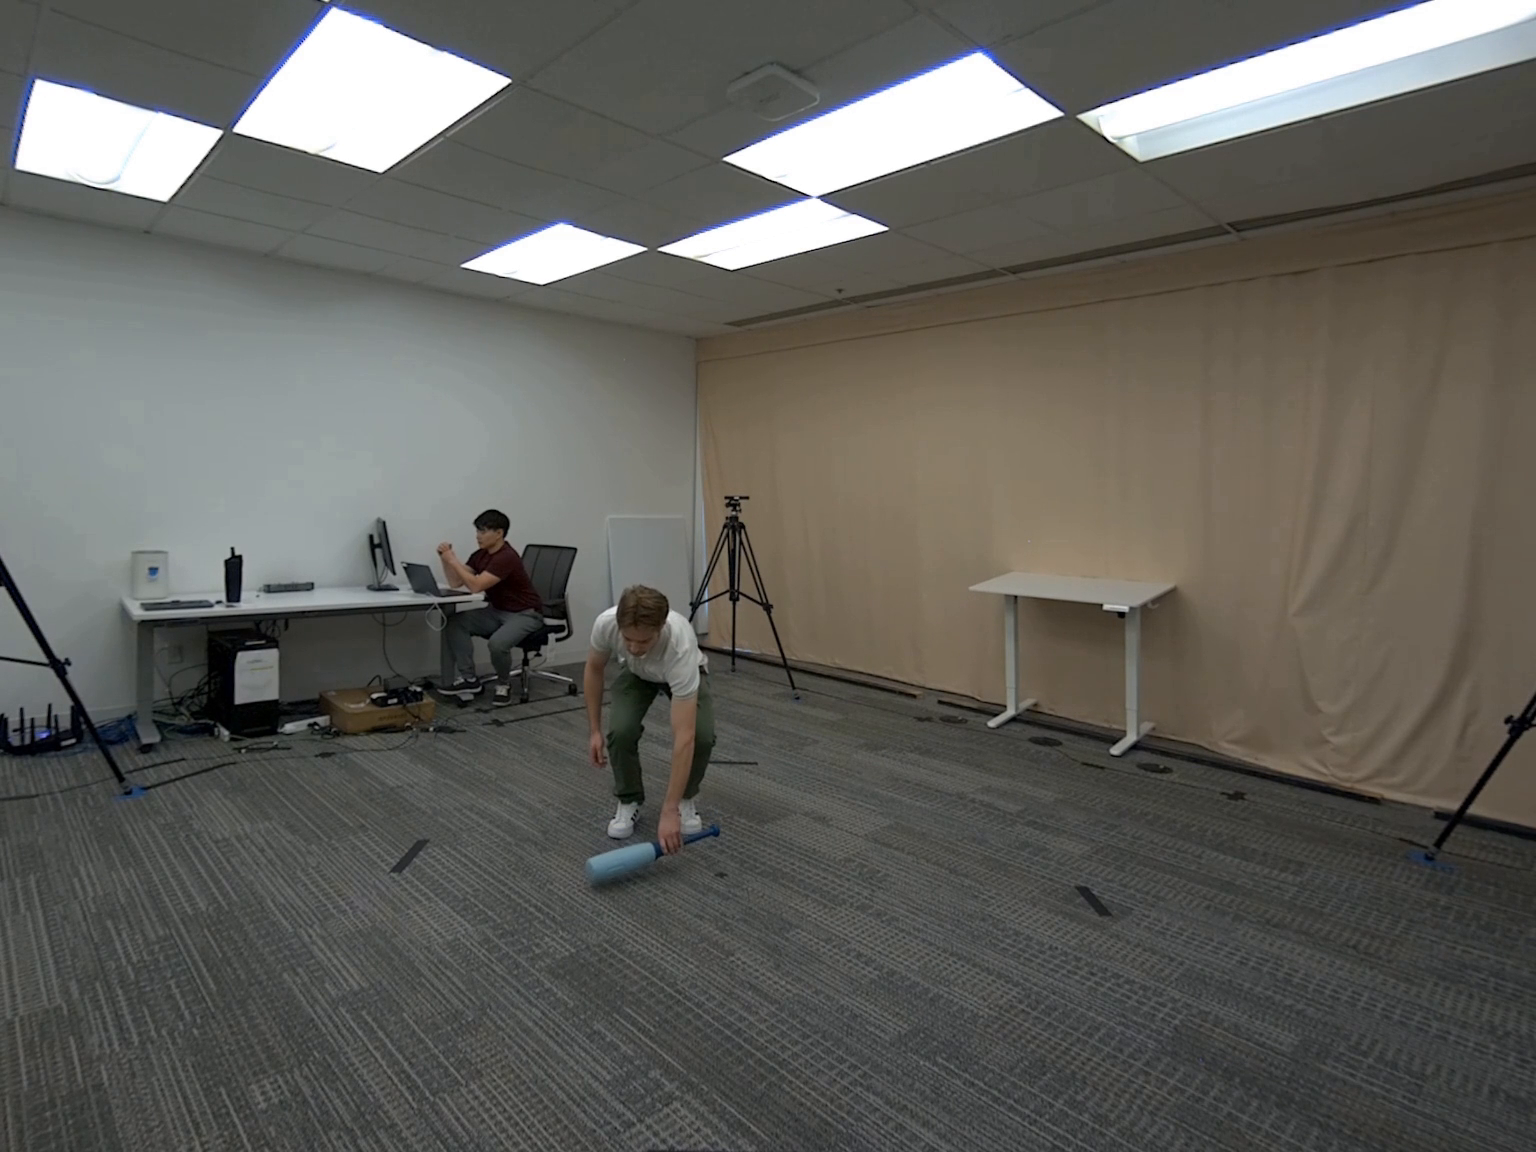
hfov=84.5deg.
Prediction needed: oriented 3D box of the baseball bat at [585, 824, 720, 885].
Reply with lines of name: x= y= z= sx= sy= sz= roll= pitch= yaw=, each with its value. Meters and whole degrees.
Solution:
baseball bat: x=-0.418 y=1.010 z=3.105 sx=0.532 sy=0.089 sz=0.091 roll=-6 pitch=7 yaw=-32
